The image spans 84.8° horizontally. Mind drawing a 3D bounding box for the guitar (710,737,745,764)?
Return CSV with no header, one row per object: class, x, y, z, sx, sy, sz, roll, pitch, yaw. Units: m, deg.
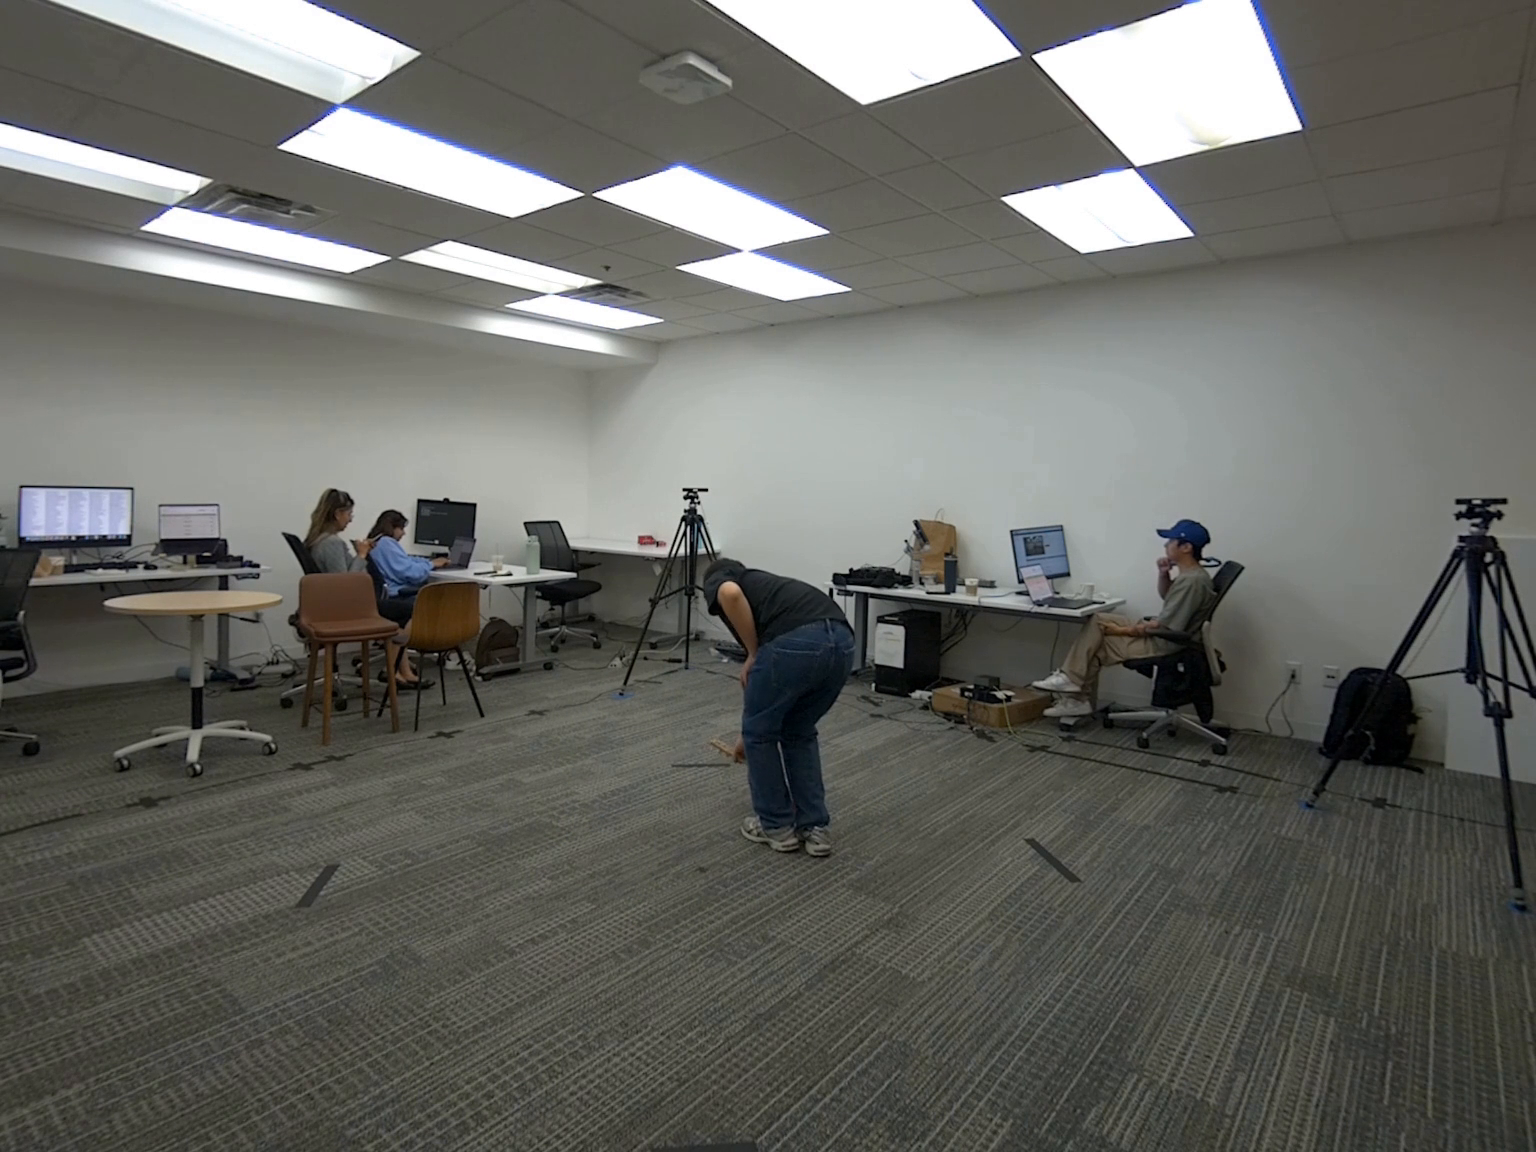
guitar,-0.042,0.853,3.759,0.517,0.070,0.187,29,18,31
